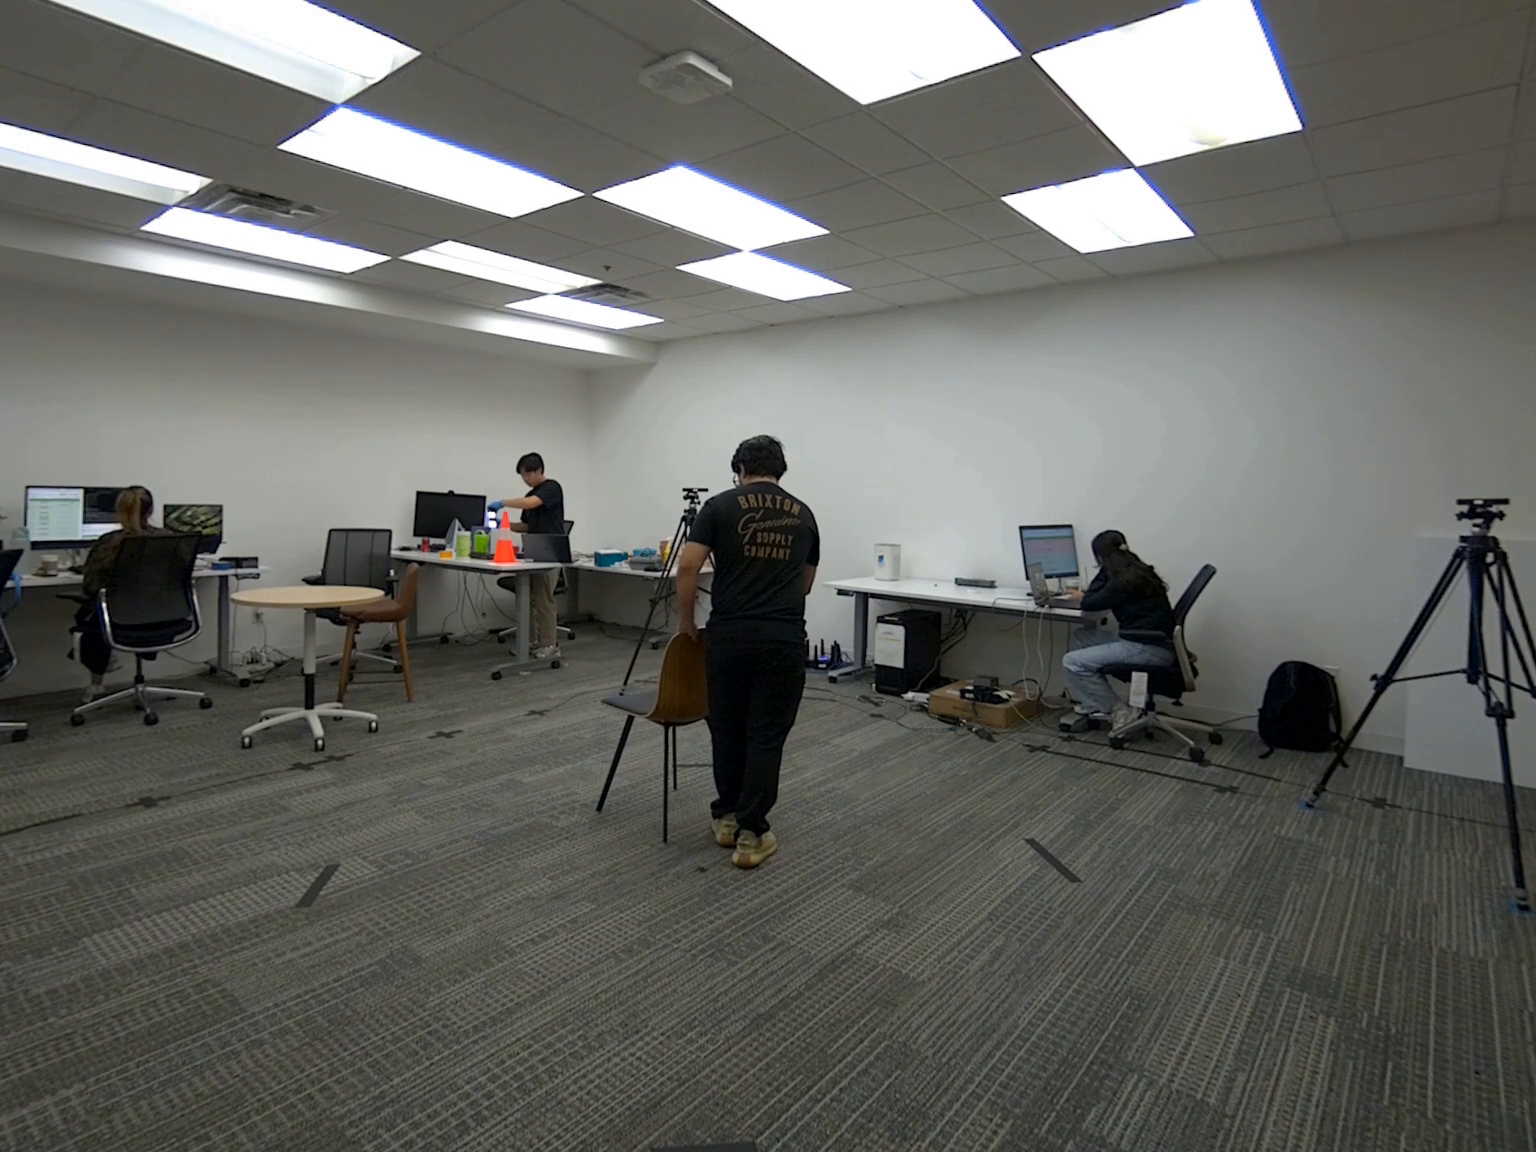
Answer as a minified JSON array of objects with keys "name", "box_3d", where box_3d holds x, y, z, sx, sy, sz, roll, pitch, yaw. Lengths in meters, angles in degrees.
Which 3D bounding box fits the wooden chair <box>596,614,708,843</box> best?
[{"name":"wooden chair","box_3d":[-0.431,0.587,3.626,0.542,0.872,0.463,10,9,44]}]
